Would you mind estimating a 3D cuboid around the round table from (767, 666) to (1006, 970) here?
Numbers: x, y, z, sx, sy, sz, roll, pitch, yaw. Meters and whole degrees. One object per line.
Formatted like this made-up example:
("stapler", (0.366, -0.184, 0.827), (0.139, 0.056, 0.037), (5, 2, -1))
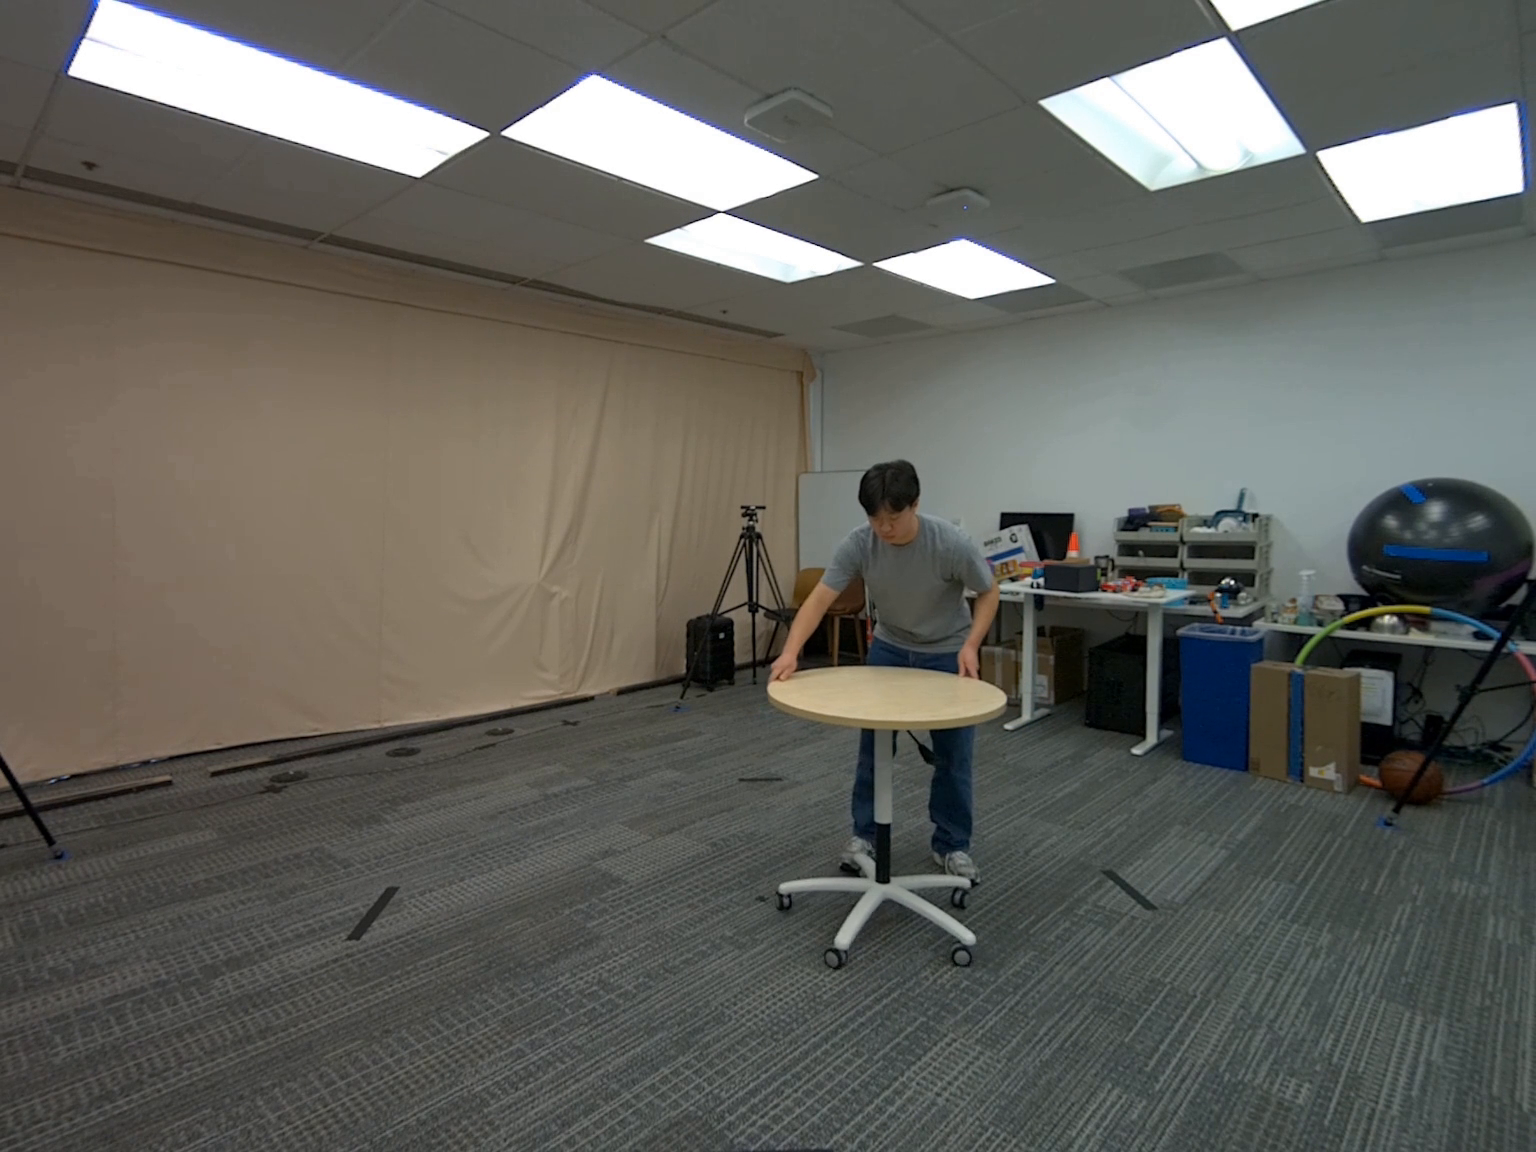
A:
("round table", (0.375, 0.770, 2.786), (0.763, 0.792, 0.767), (0, 4, -2))
